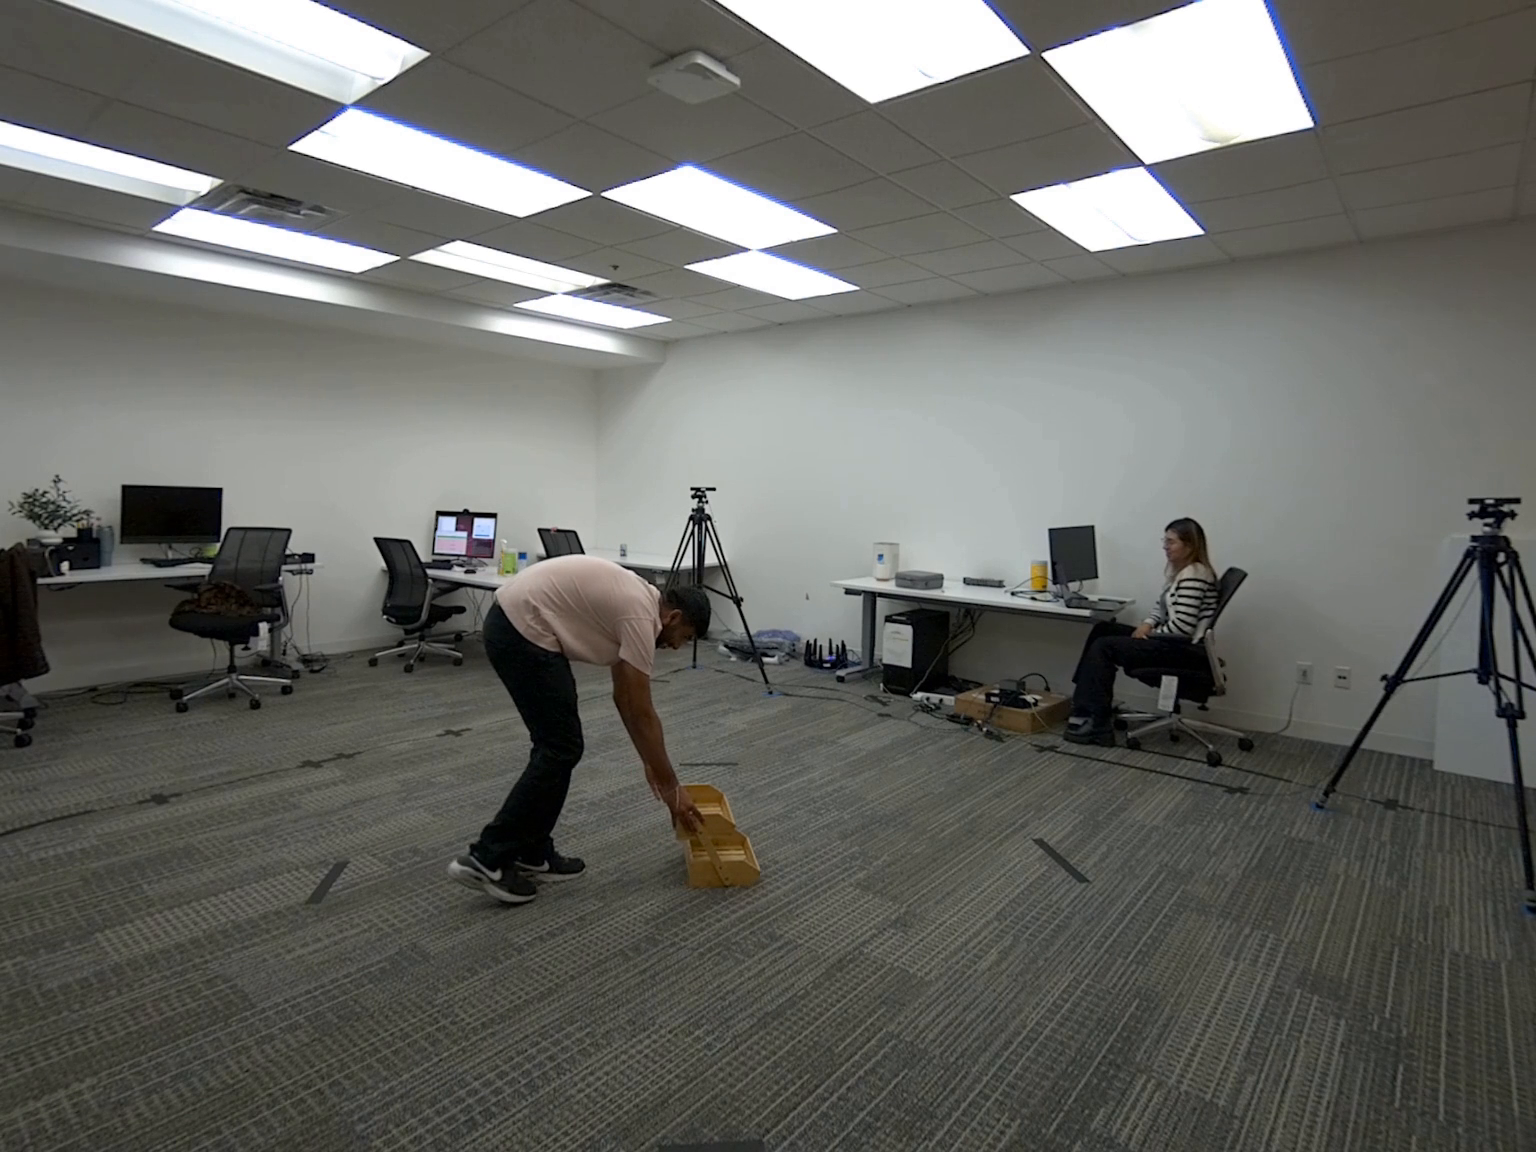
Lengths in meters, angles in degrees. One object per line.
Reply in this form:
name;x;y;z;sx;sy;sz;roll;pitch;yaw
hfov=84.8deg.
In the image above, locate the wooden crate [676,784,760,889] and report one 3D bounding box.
wooden crate;-0.199;0.936;3.111;0.300;0.272;0.328;0;4;-8
